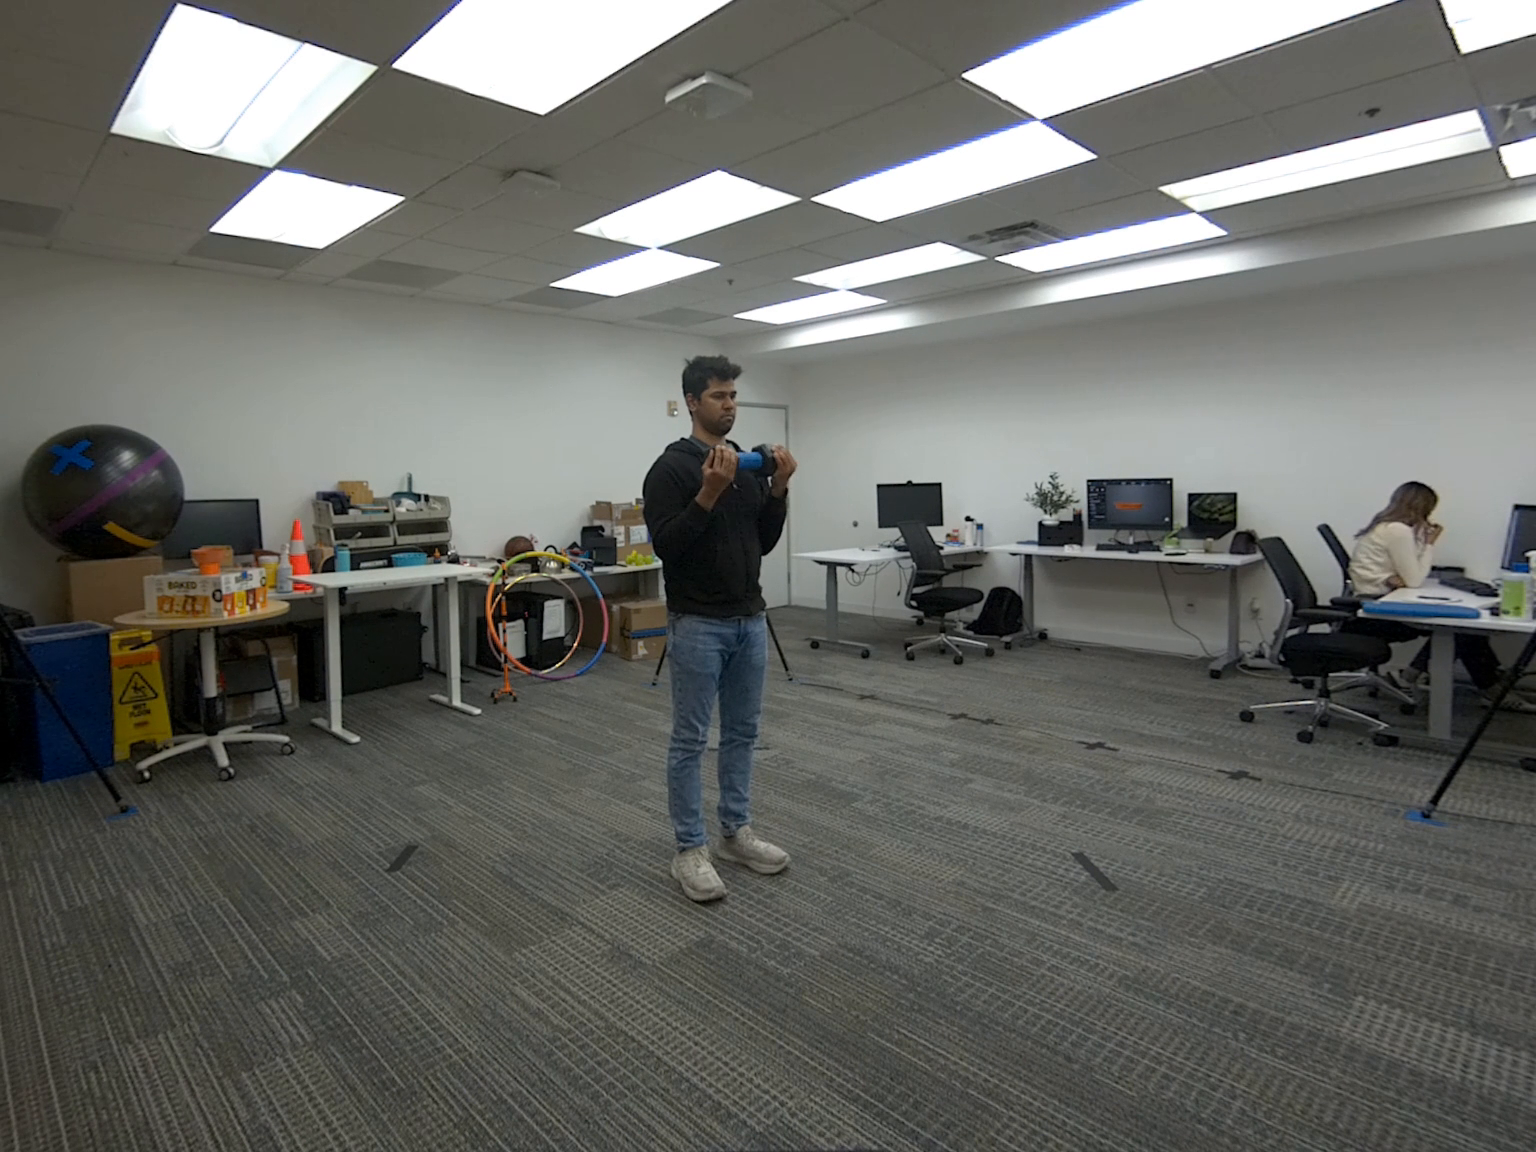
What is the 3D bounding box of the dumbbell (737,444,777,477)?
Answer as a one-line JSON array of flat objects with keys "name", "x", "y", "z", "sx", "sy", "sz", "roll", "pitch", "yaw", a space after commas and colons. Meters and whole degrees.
[{"name": "dumbbell", "x": -0.093, "y": -0.373, "z": 2.882, "sx": 0.286, "sy": 0.109, "sz": 0.125, "roll": -6, "pitch": -5, "yaw": -42}]
